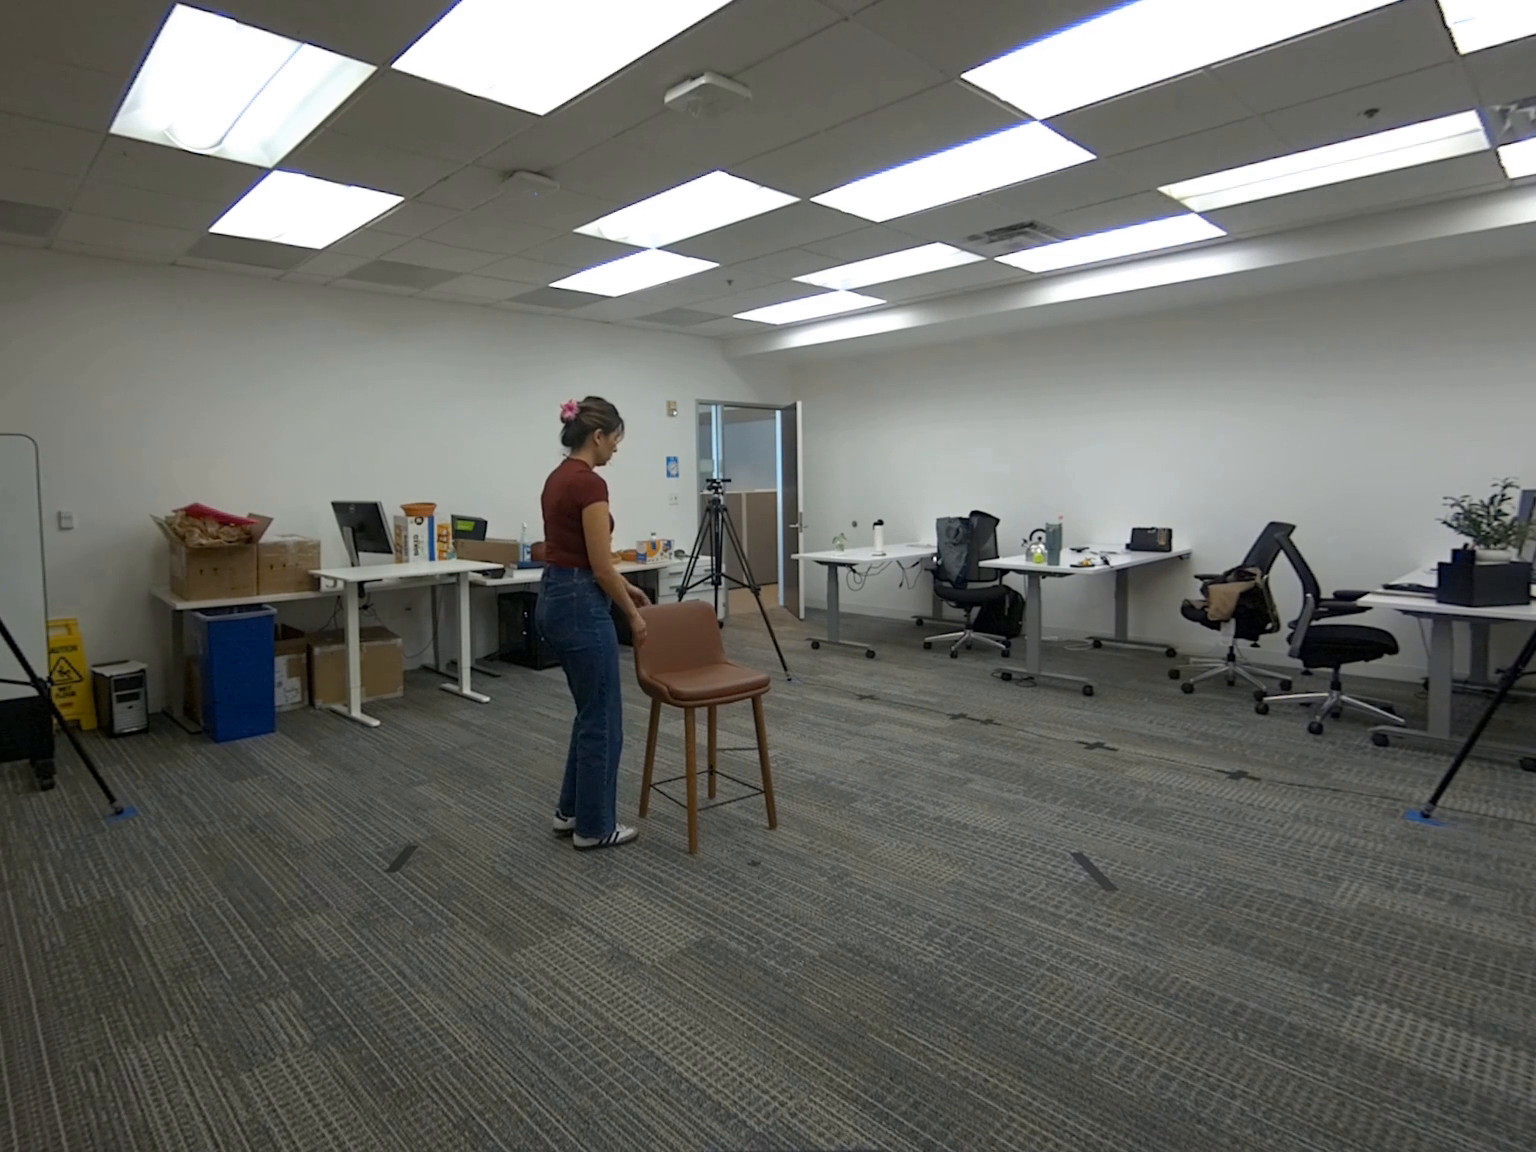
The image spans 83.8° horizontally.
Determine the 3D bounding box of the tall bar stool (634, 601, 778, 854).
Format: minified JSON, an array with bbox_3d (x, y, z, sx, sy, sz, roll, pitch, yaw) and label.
[{"bbox_3d":[-0.267,0.571,3.471,0.445,0.888,0.481,-4,3,-36],"label":"tall bar stool"}]
